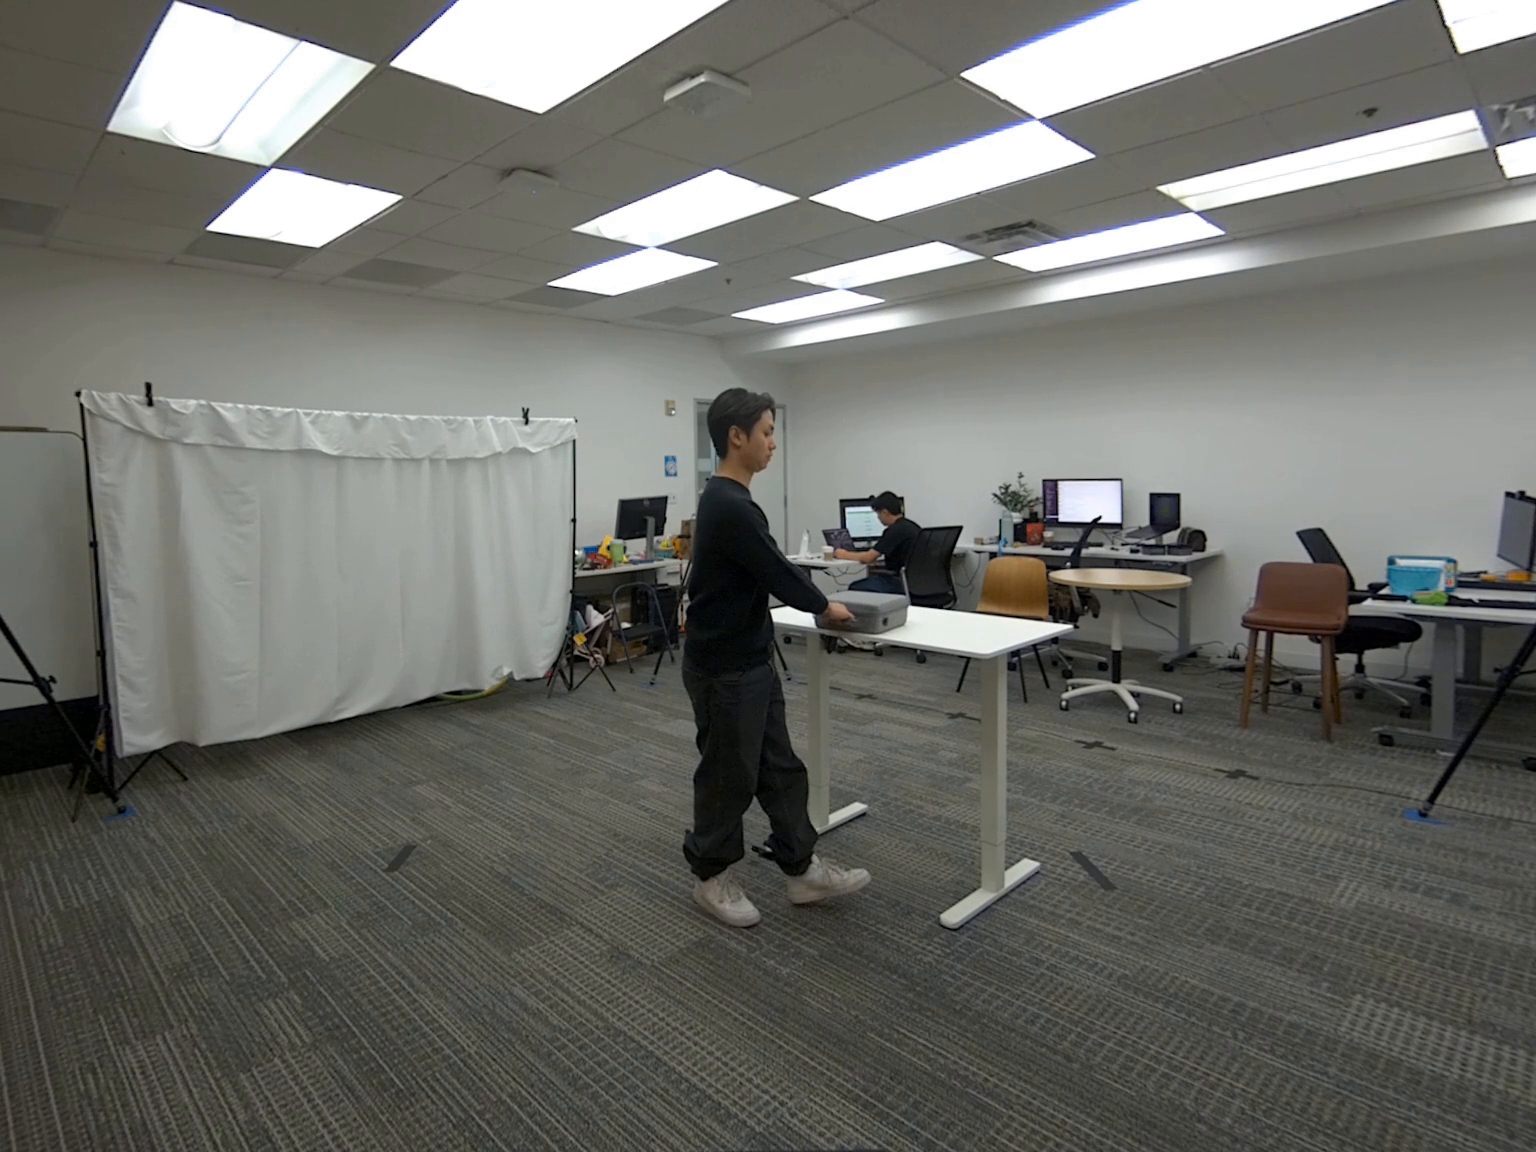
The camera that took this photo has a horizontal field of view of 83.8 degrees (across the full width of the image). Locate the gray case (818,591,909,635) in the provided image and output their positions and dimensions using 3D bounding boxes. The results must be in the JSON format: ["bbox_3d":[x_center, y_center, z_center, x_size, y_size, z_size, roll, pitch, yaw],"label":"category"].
[{"bbox_3d":[0.326,0.119,2.932,0.264,0.104,0.254,6,9,34],"label":"gray case"}]
